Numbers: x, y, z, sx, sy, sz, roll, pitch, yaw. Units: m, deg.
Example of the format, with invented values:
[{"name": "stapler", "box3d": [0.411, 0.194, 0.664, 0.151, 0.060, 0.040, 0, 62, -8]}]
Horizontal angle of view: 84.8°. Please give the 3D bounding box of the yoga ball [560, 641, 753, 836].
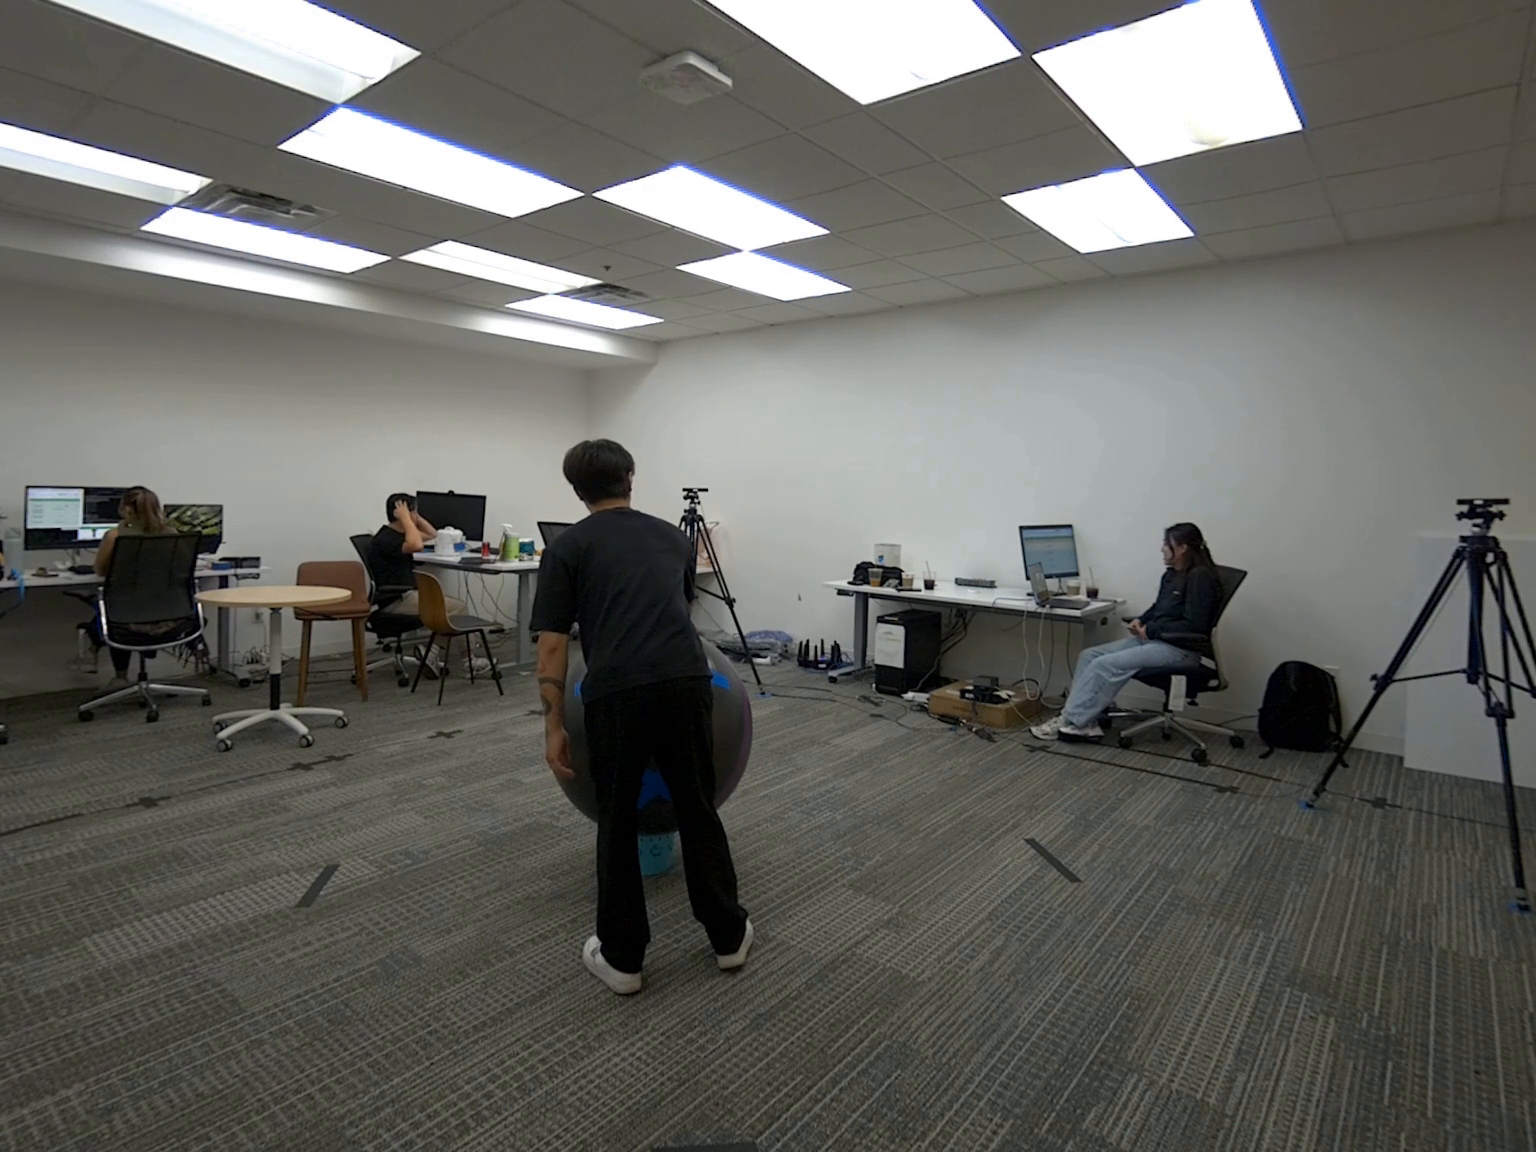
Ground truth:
[{"name": "yoga ball", "box3d": [-0.444, 0.555, 3.135, 0.757, 0.756, 0.762, 1, 4, -2]}]
